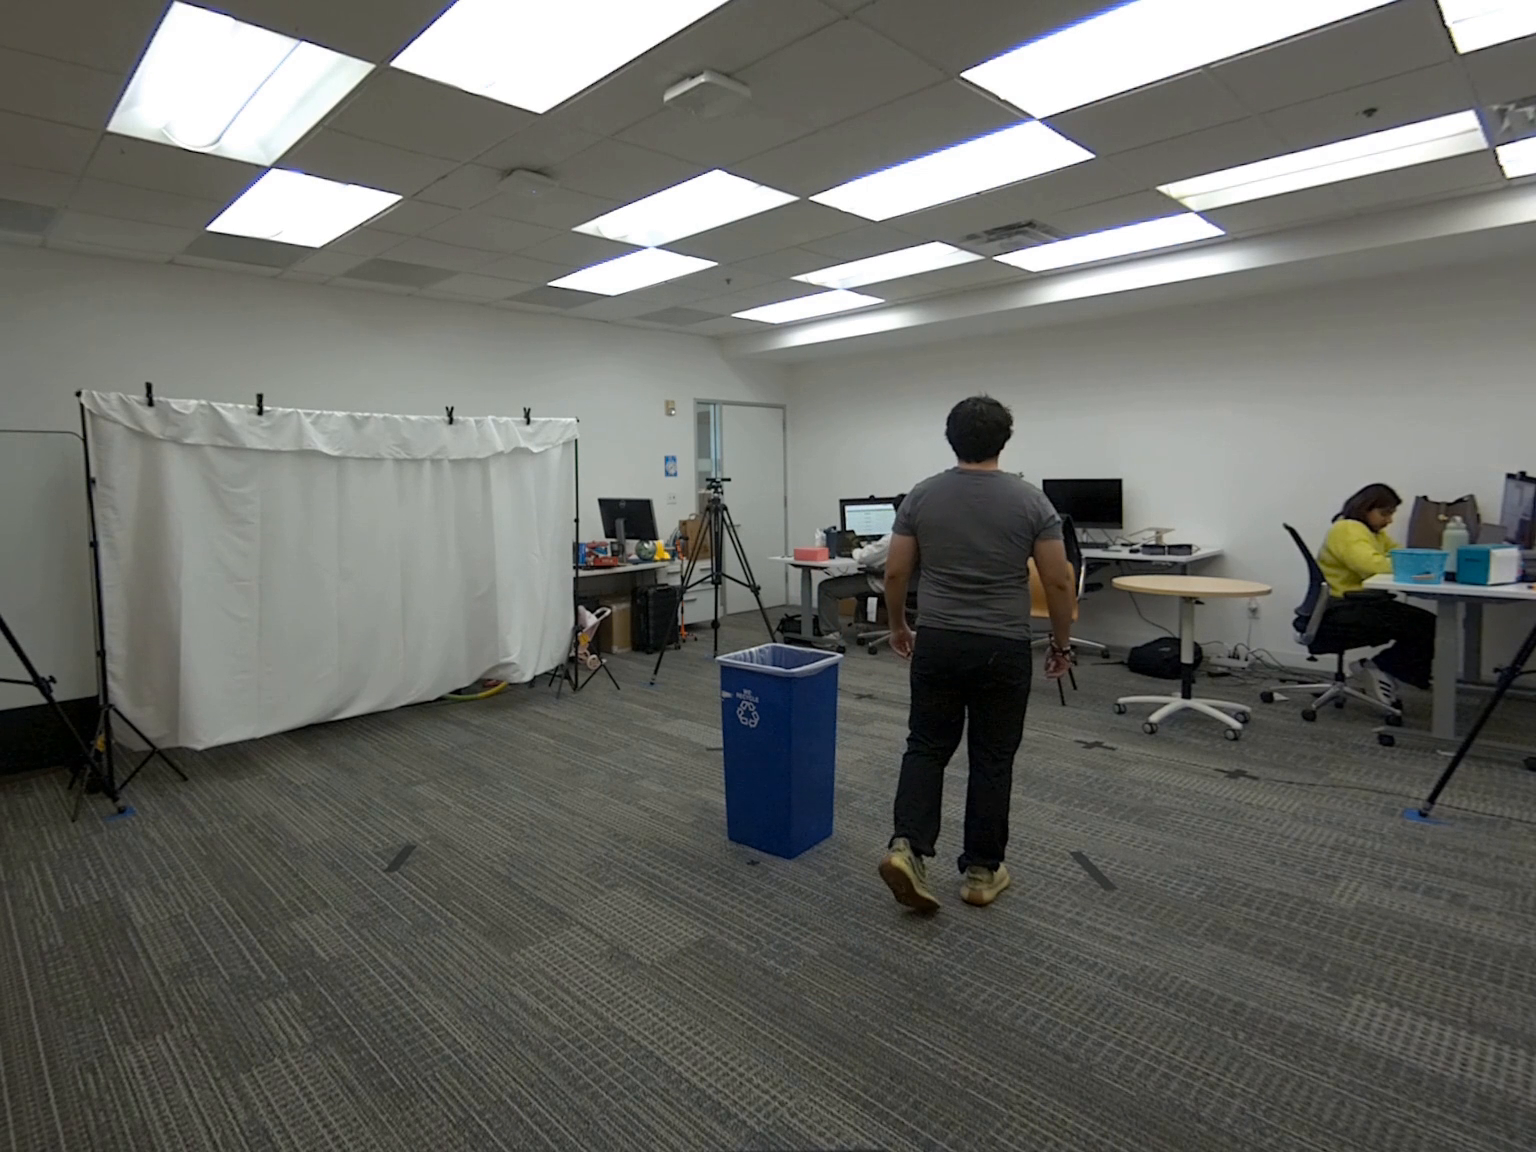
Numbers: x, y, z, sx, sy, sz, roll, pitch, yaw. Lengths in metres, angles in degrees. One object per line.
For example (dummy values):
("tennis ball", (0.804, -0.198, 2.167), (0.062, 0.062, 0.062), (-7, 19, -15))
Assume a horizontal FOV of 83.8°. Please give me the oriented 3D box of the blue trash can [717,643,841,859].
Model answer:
("blue trash can", (0.054, 0.660, 3.303), (0.385, 0.711, 0.368), (3, 6, 38))
